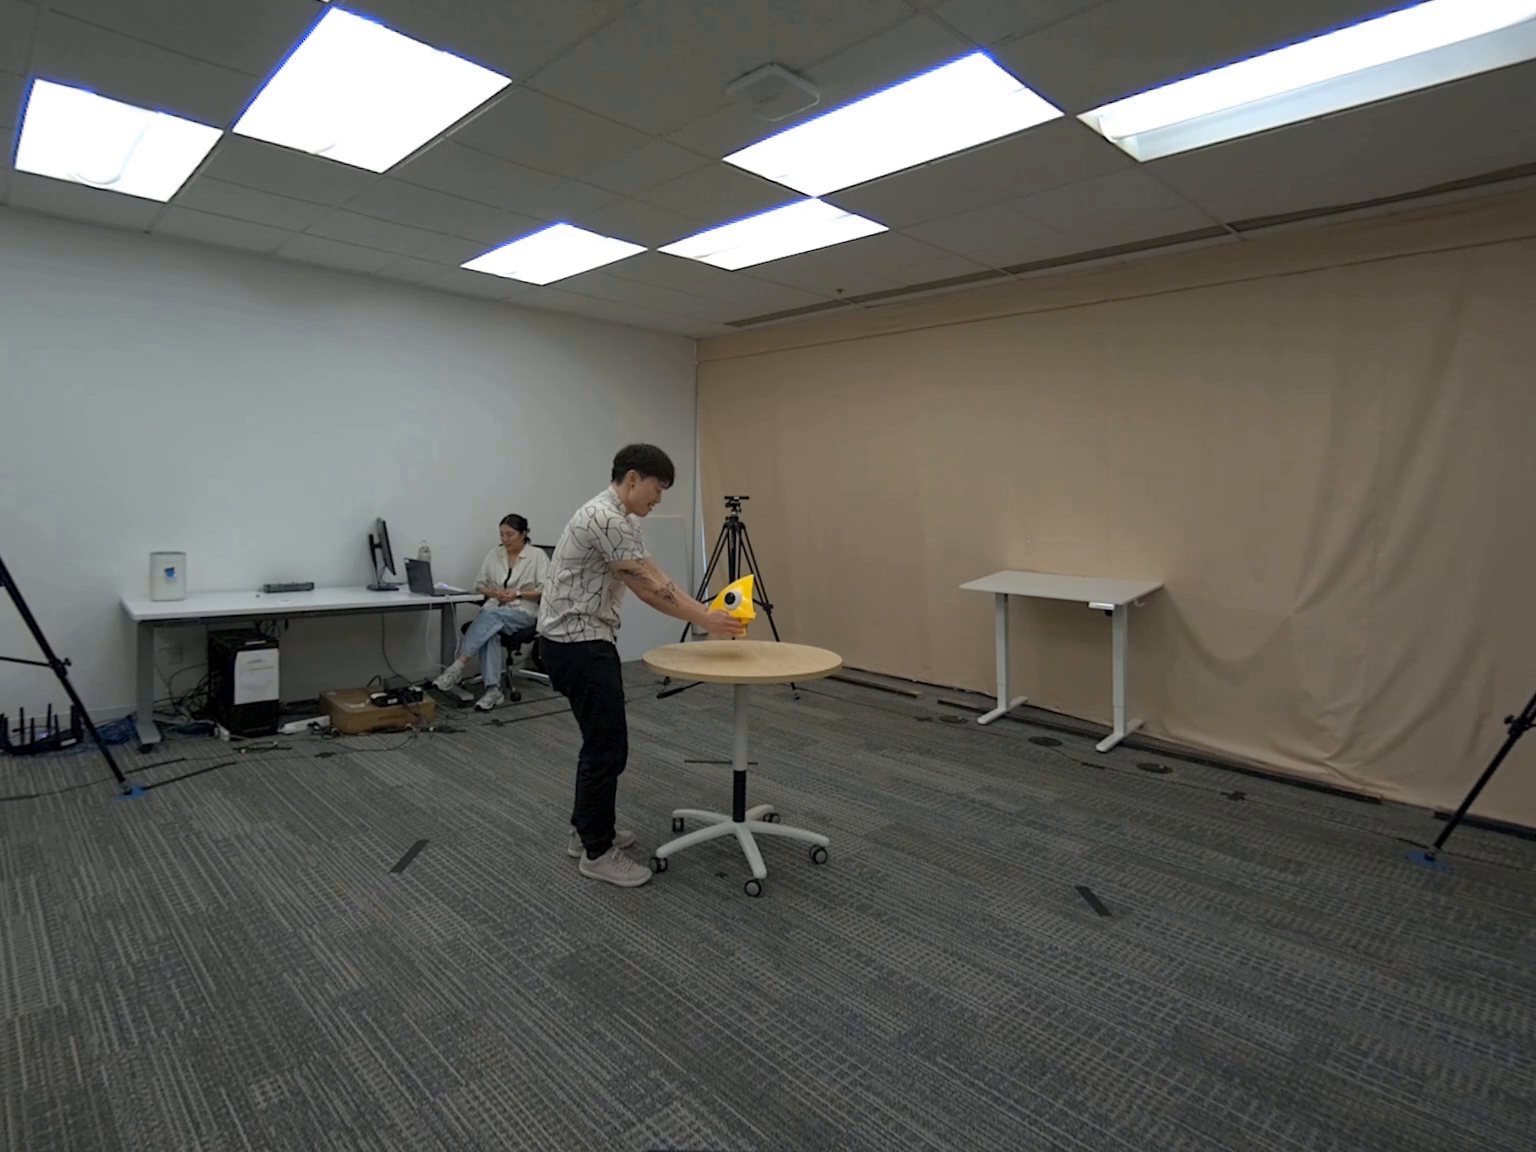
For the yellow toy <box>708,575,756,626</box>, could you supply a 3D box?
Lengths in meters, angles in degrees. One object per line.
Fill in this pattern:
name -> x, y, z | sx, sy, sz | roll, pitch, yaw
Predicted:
yellow toy -> -0.142, 0.101, 3.230 | 0.193, 0.230, 0.205 | 11, 3, -3
